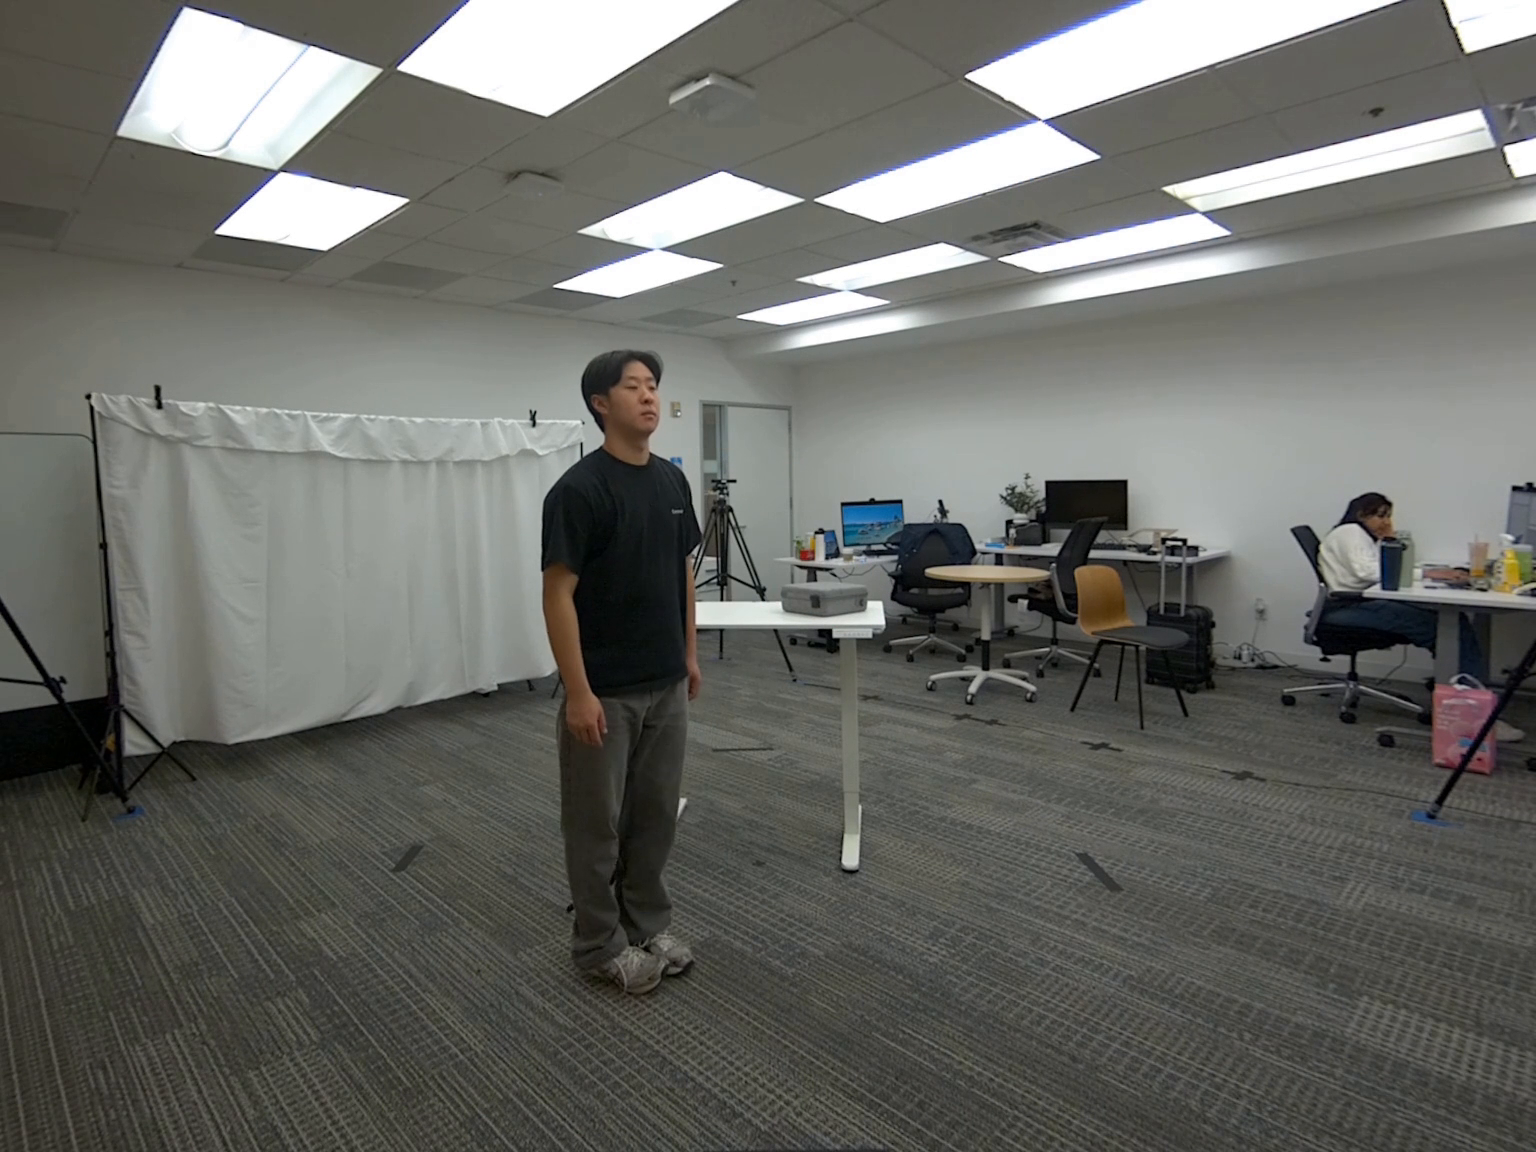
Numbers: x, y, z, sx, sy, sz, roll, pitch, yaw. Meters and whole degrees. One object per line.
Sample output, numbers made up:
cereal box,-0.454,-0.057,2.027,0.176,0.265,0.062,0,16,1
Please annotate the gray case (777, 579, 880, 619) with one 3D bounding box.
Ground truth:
gray case,0.232,0.083,3.300,0.280,0.103,0.271,-5,6,-39
